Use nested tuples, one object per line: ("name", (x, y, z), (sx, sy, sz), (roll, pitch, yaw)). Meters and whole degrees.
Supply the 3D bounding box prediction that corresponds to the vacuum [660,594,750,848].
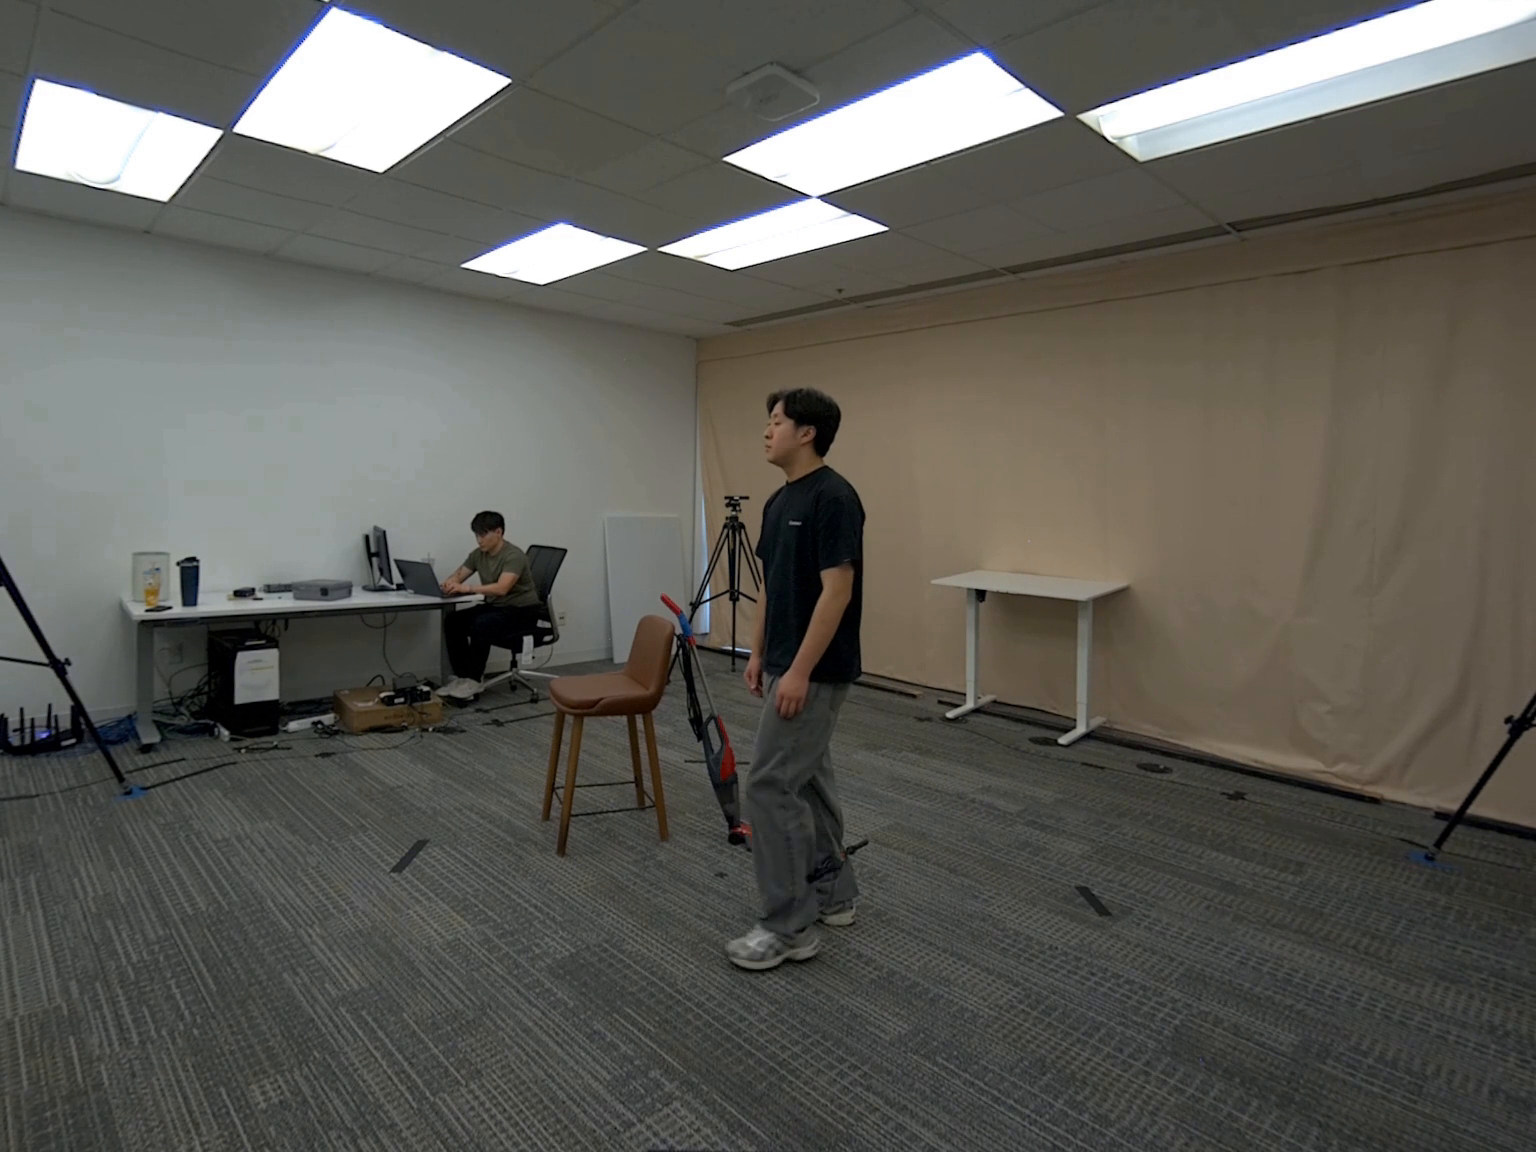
("vacuum", (-0.264, 0.574, 3.445), (0.144, 1.049, 0.252), (-18, 0, 4))
